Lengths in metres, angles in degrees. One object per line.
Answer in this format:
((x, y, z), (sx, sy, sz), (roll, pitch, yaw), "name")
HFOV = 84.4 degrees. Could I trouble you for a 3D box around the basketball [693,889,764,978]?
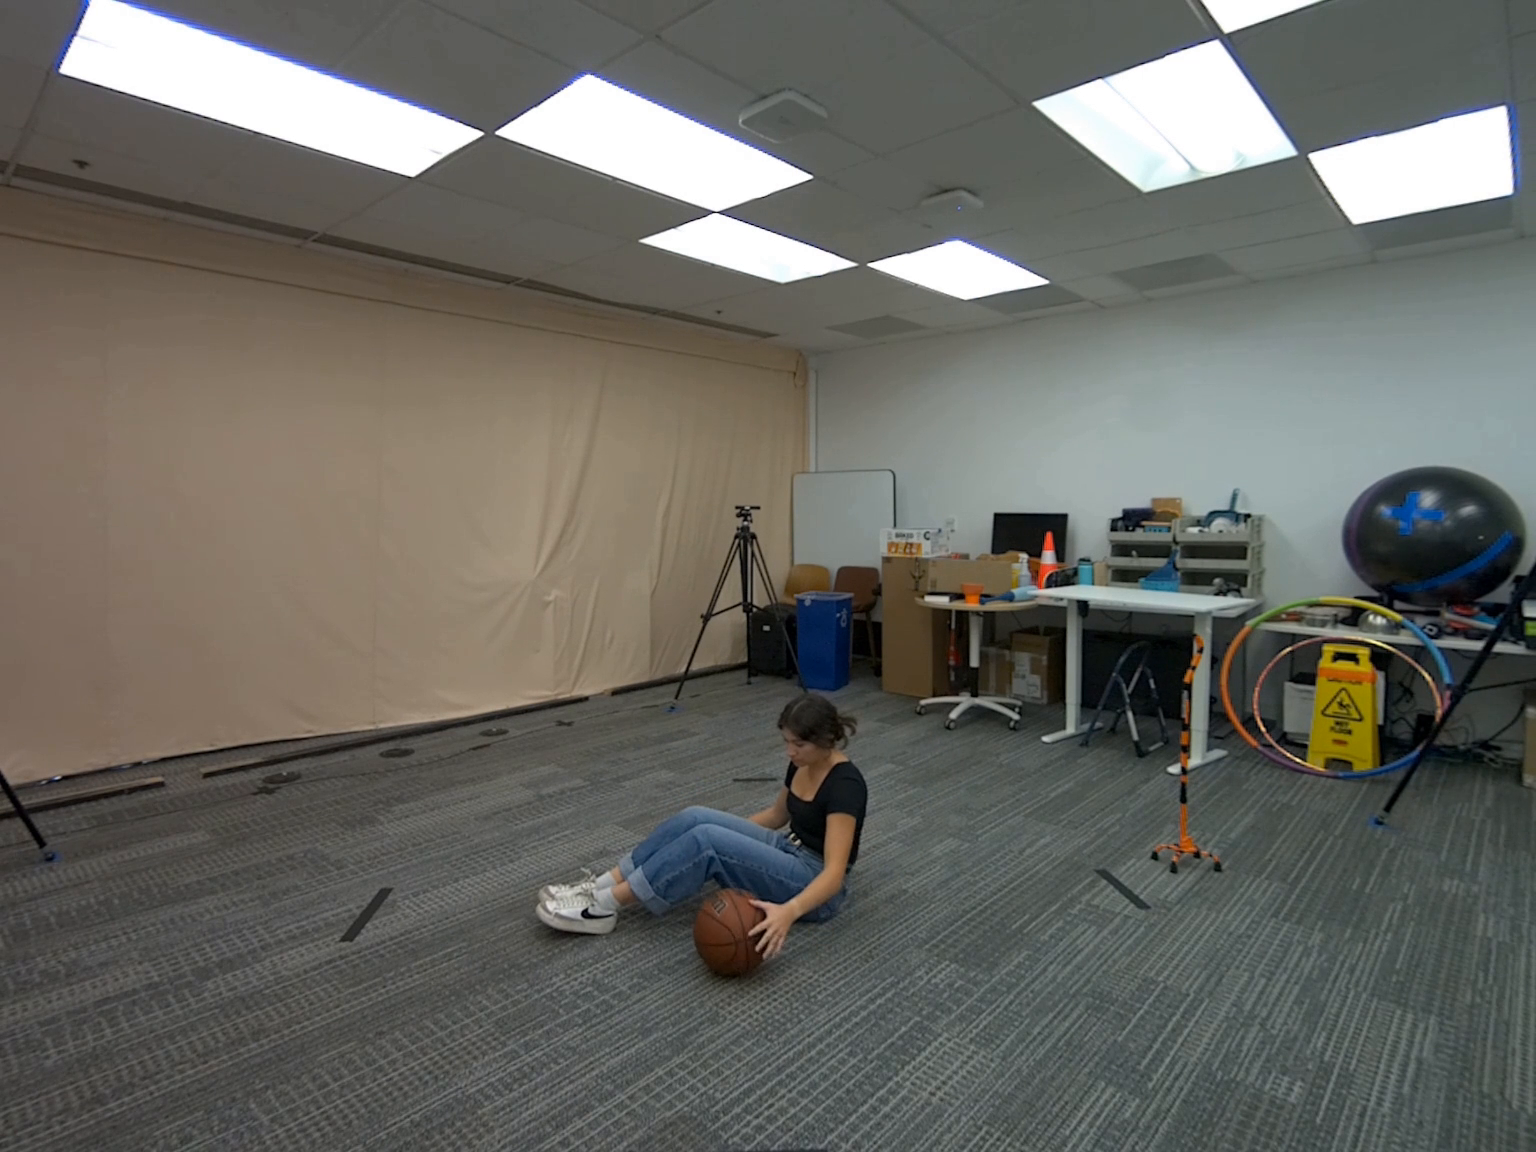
((-0.098, 1.057, 2.519), (0.236, 0.235, 0.237), (0, 4, -2), "basketball")
